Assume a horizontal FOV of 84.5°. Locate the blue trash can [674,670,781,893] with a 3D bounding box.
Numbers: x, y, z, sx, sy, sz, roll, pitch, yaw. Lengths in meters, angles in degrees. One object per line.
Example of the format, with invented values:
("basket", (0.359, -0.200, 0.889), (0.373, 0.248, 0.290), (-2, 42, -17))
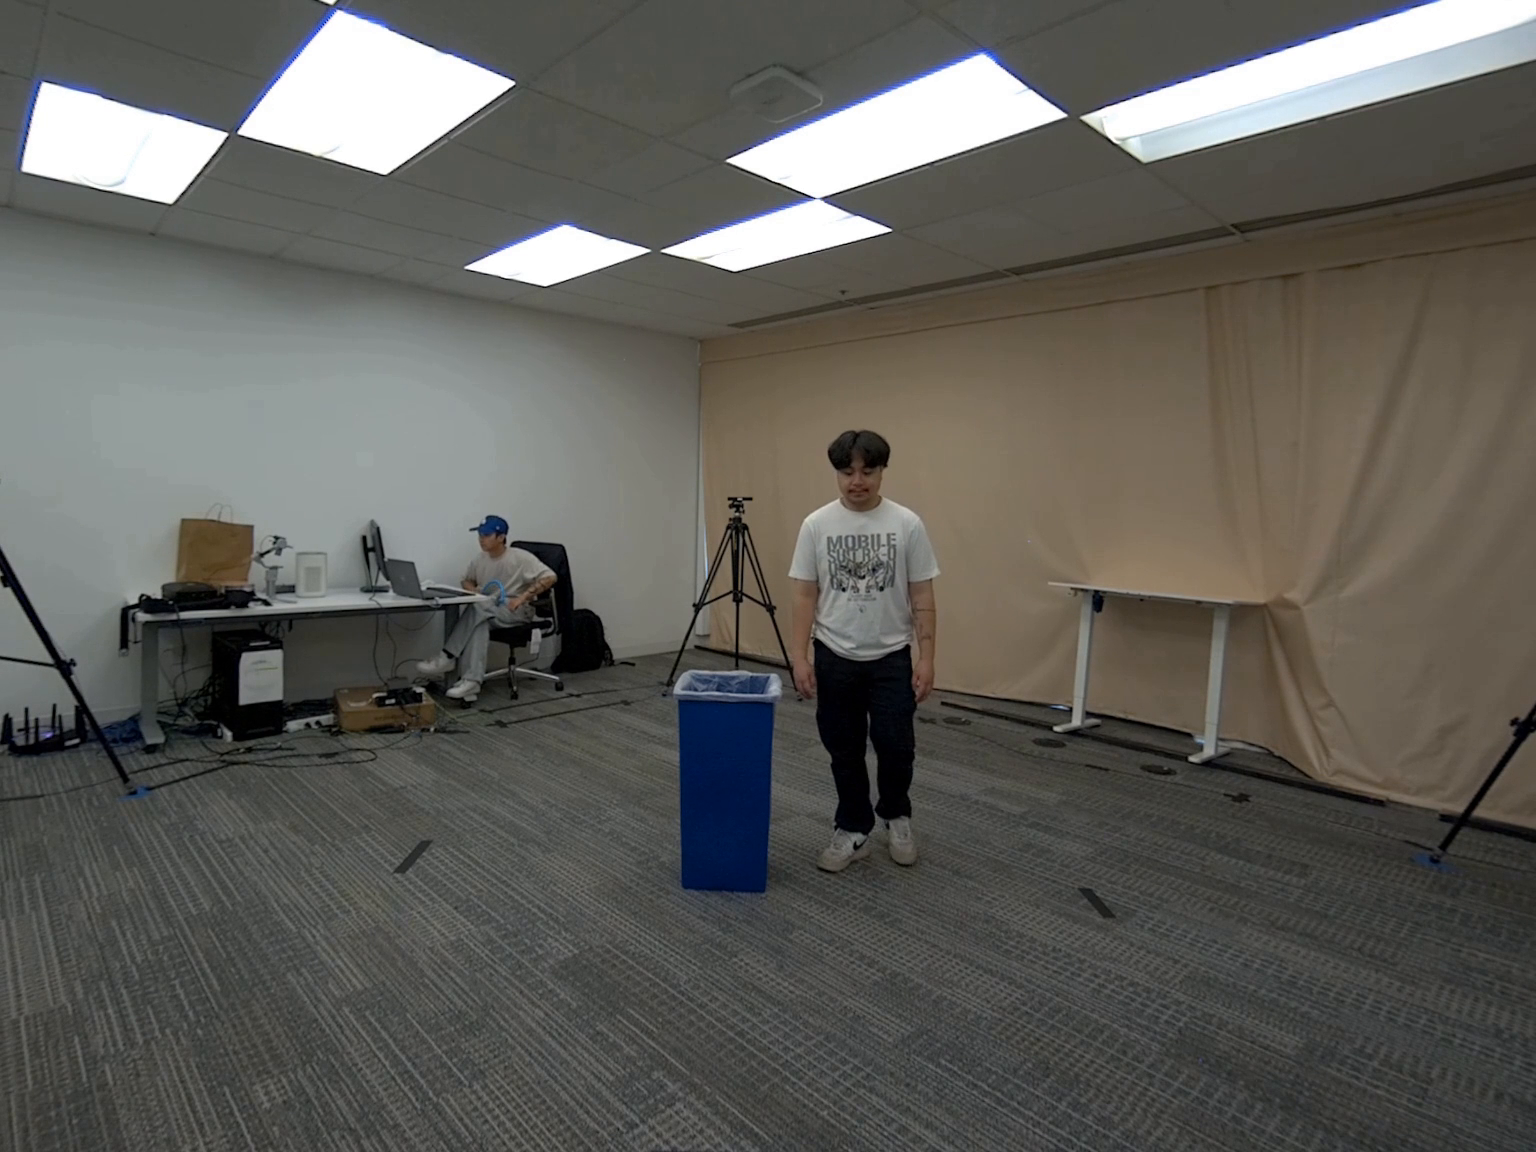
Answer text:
("blue trash can", (-0.162, 0.751, 3.111), (0.375, 0.712, 0.378), (2, 3, 3))
